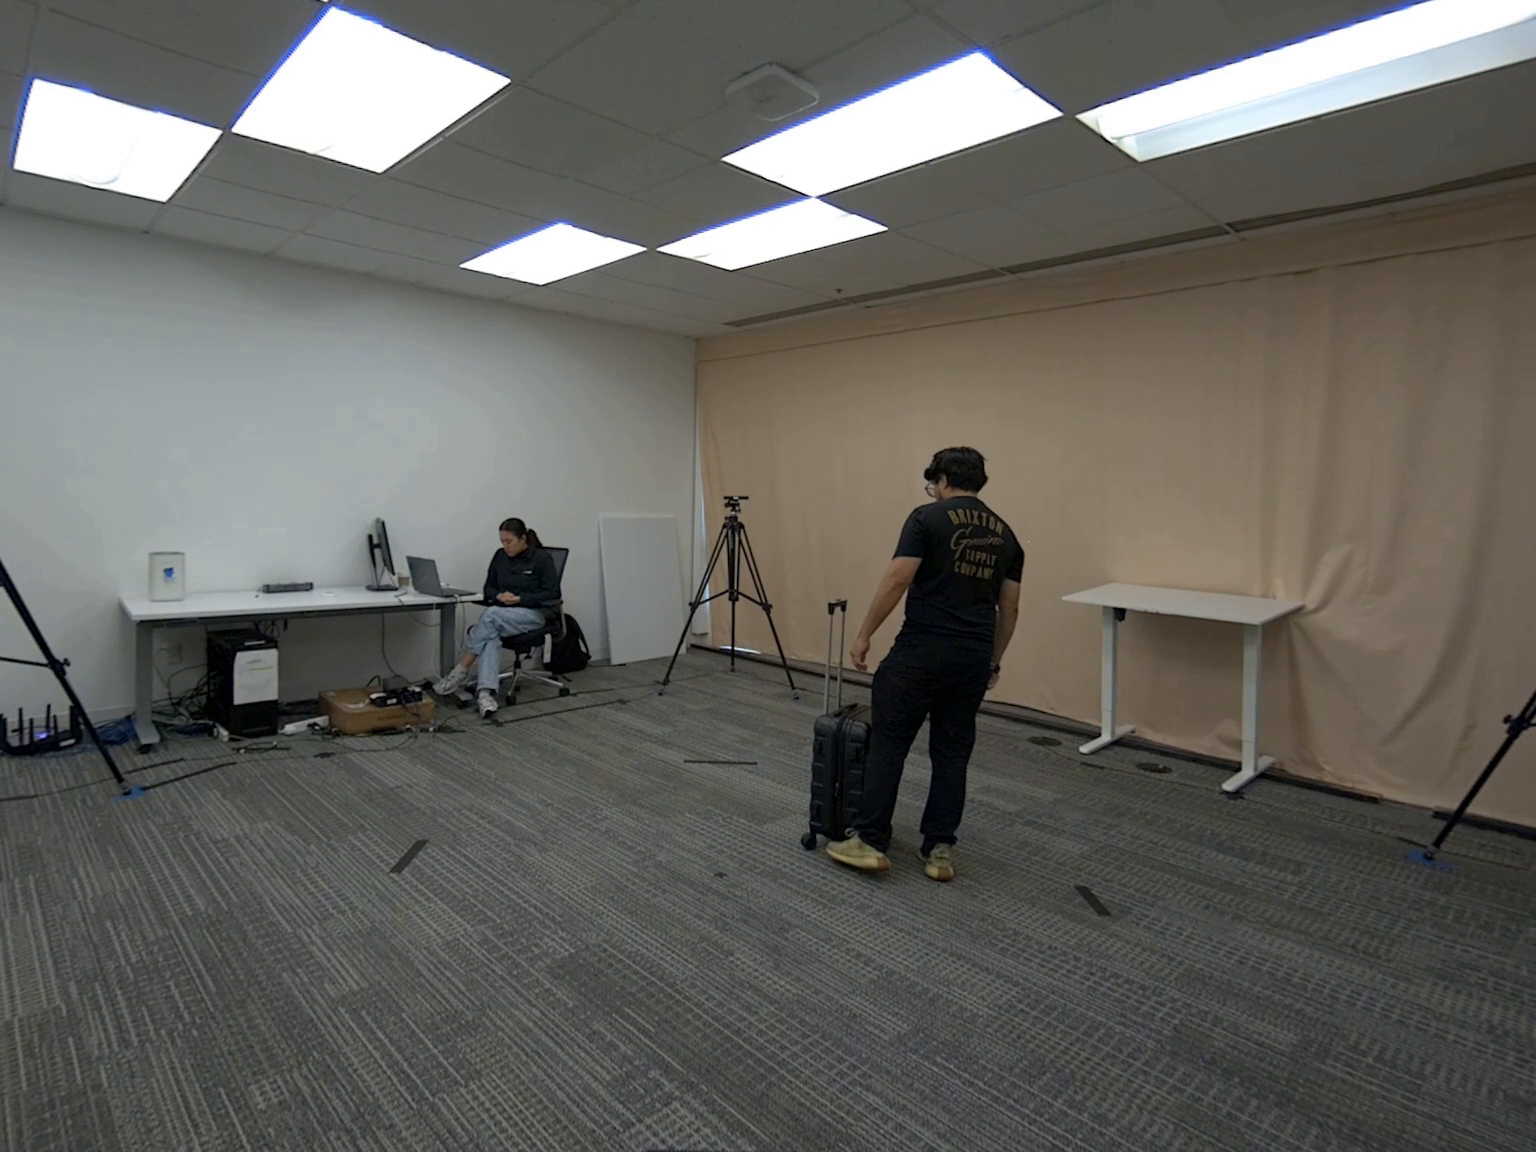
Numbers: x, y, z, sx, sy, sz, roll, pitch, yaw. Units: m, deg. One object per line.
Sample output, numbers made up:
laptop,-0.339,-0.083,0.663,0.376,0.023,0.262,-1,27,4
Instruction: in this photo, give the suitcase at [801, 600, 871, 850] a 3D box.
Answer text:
suitcase,0.349,0.611,3.429,0.262,0.977,0.377,4,3,25
